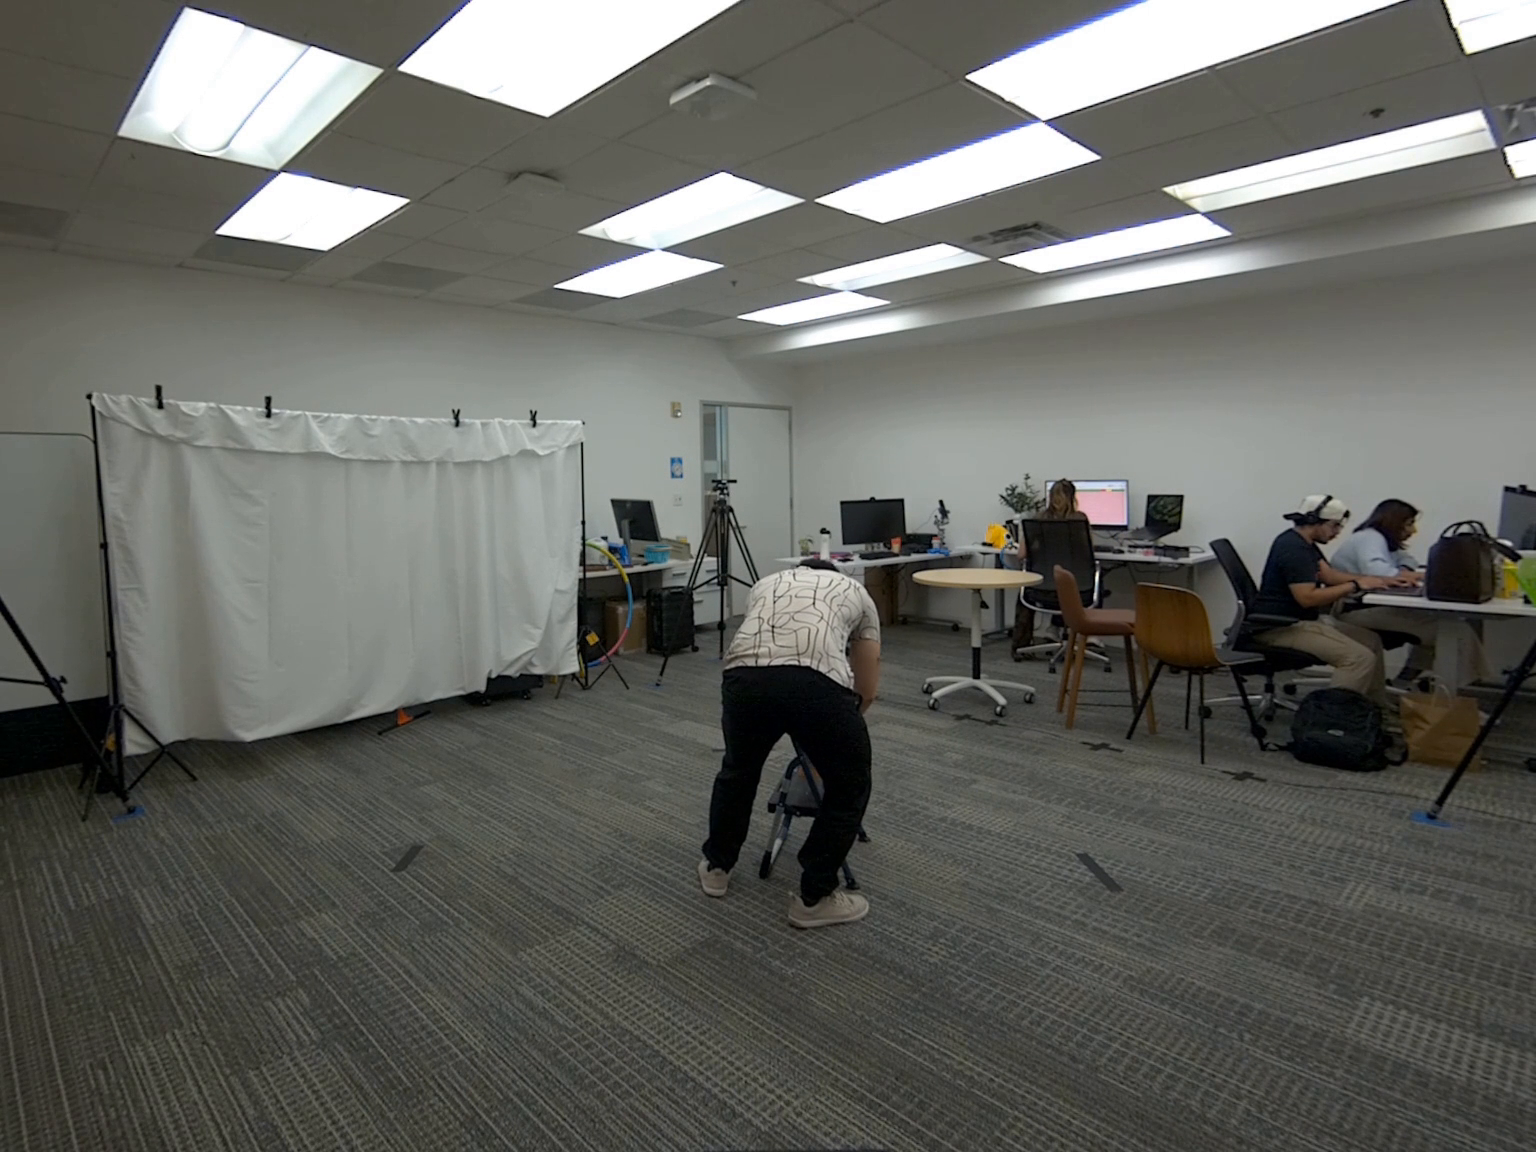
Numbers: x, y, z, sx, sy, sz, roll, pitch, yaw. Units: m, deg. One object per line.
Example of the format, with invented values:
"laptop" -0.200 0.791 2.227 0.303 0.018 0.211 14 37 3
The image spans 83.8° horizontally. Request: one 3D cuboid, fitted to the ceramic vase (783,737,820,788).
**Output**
"ceramic vase" 0.161 0.612 3.081 0.131 0.218 0.164 -2 9 -35
